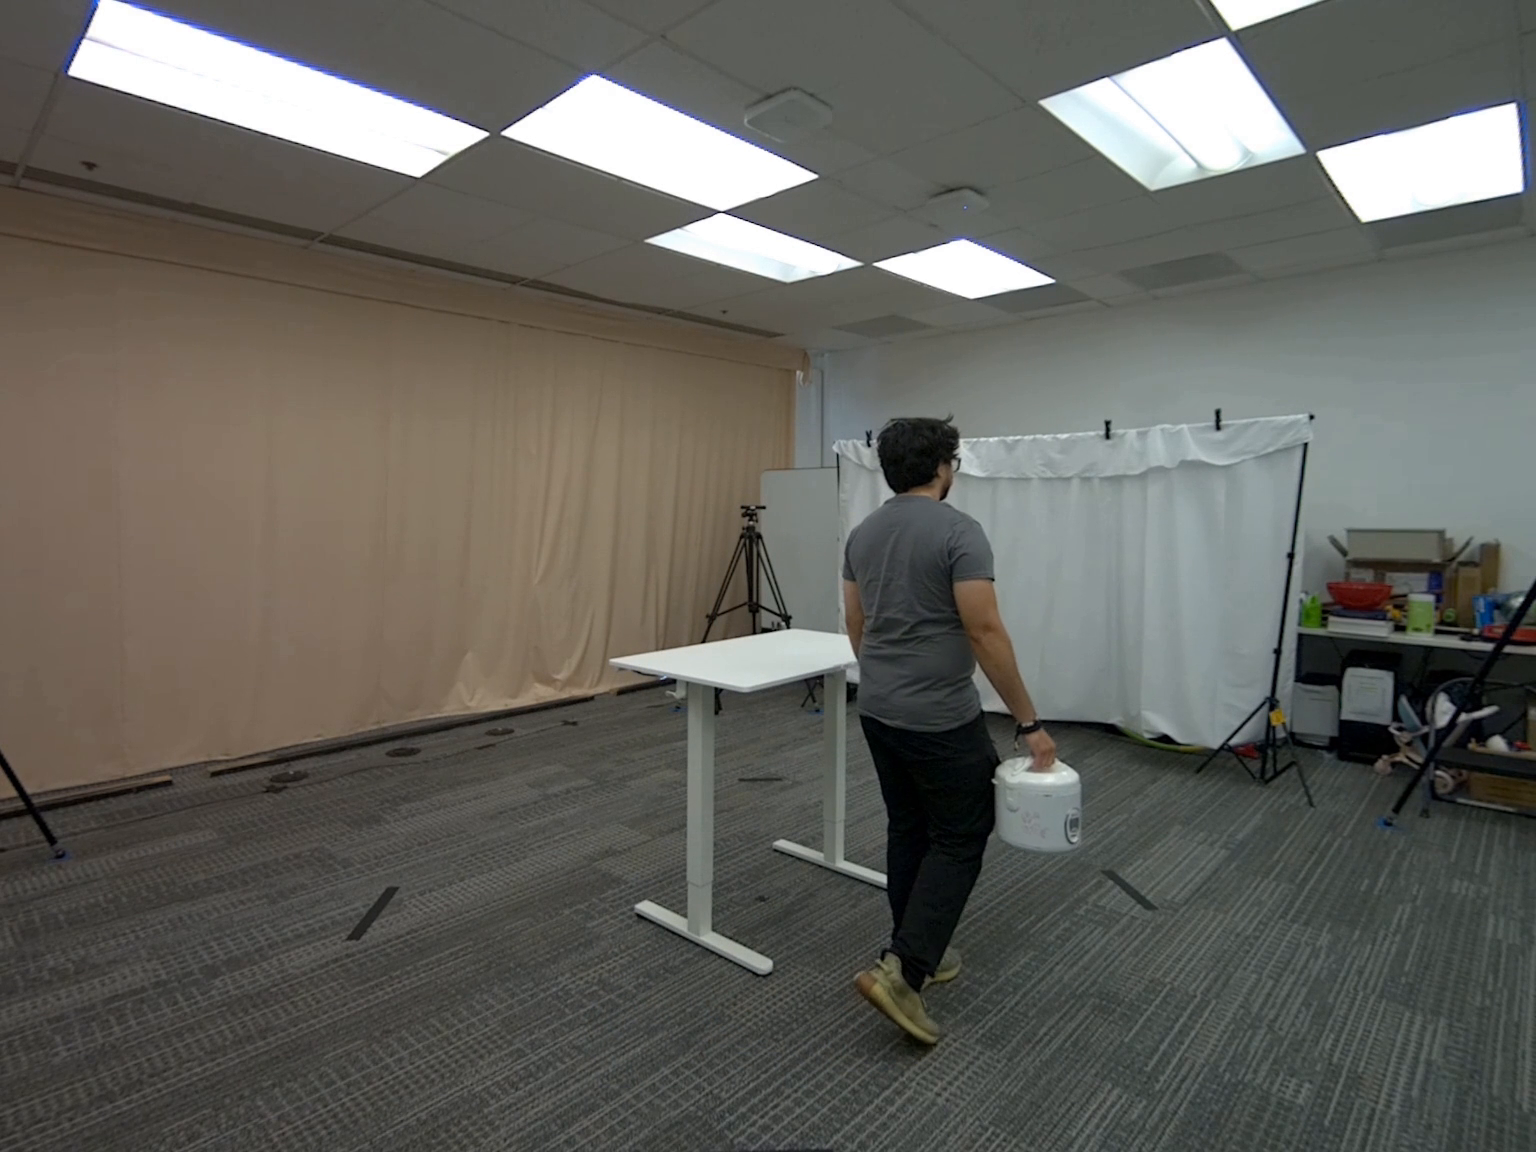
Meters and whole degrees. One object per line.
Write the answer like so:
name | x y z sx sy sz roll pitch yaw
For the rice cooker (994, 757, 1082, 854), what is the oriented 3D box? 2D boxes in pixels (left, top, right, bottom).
rice cooker | 0.711 0.588 2.171 0.214 0.232 0.224 -3 2 -33
